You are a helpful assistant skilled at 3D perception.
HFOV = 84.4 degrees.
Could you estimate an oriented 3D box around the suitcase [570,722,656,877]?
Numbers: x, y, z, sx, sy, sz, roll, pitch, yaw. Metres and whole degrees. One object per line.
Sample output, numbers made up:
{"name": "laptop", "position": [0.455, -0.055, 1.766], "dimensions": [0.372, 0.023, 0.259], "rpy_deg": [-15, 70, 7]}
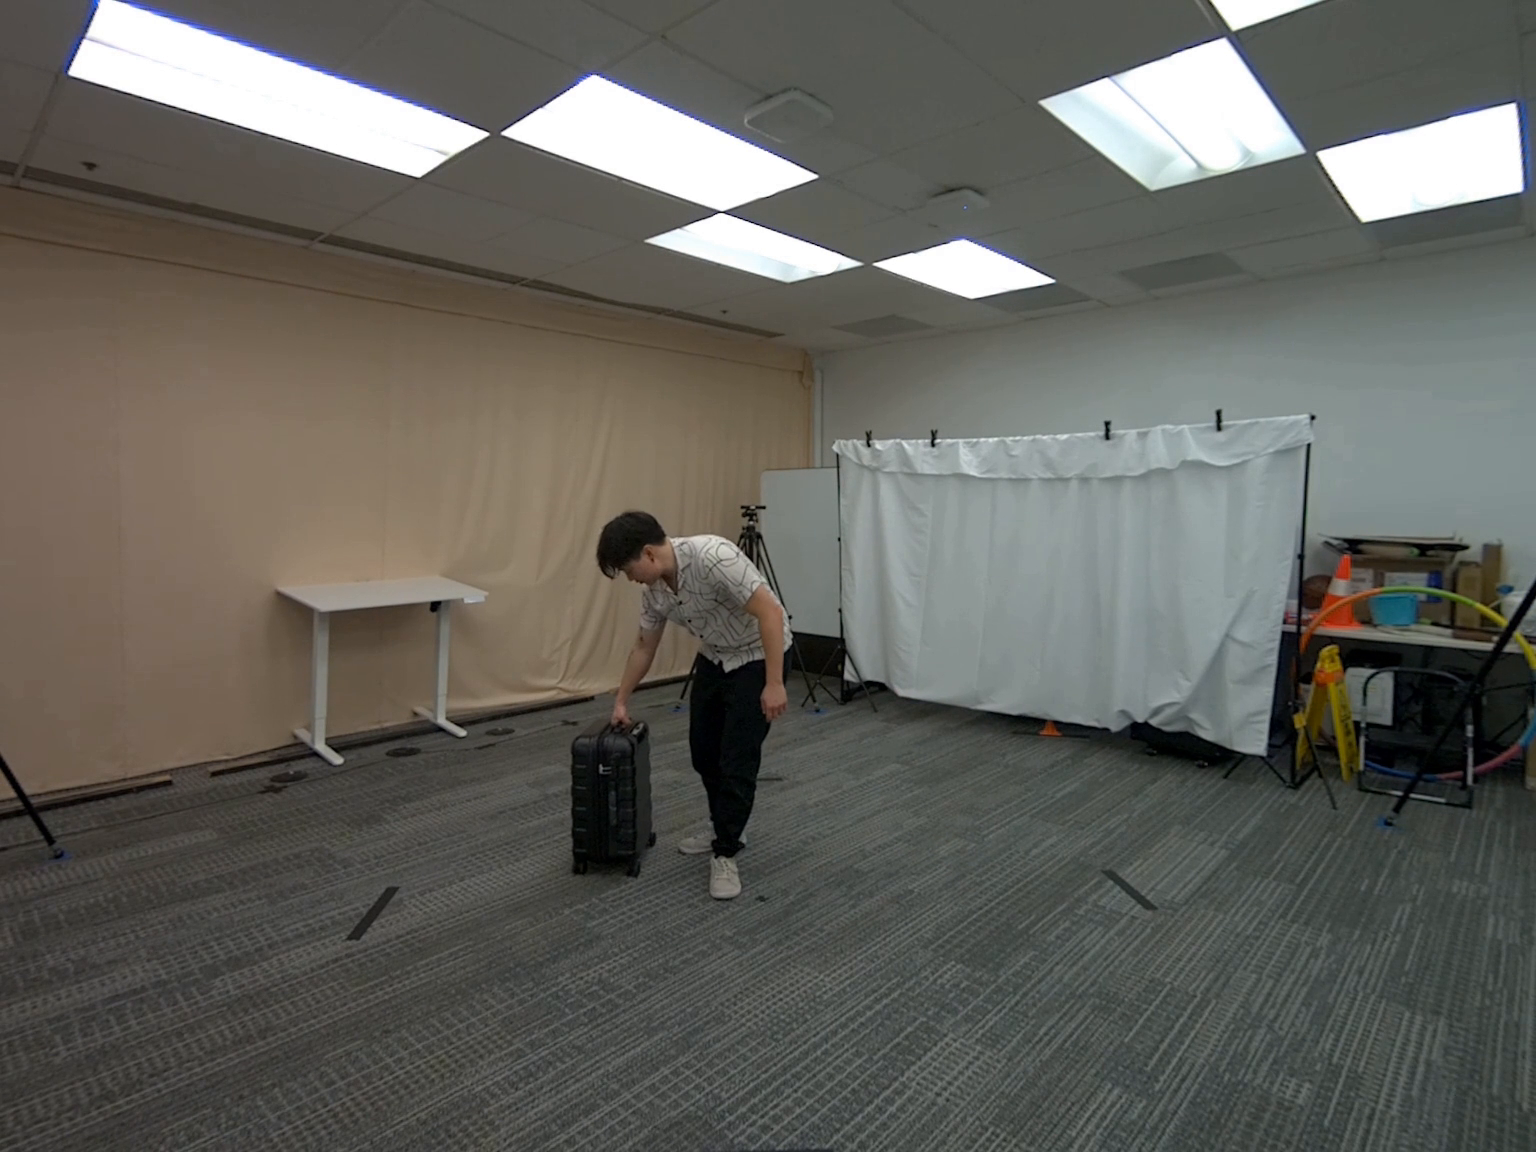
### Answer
{"name": "suitcase", "position": [-0.606, 0.848, 3.306], "dimensions": [0.250, 0.548, 0.374], "rpy_deg": [-1, 4, 6]}
